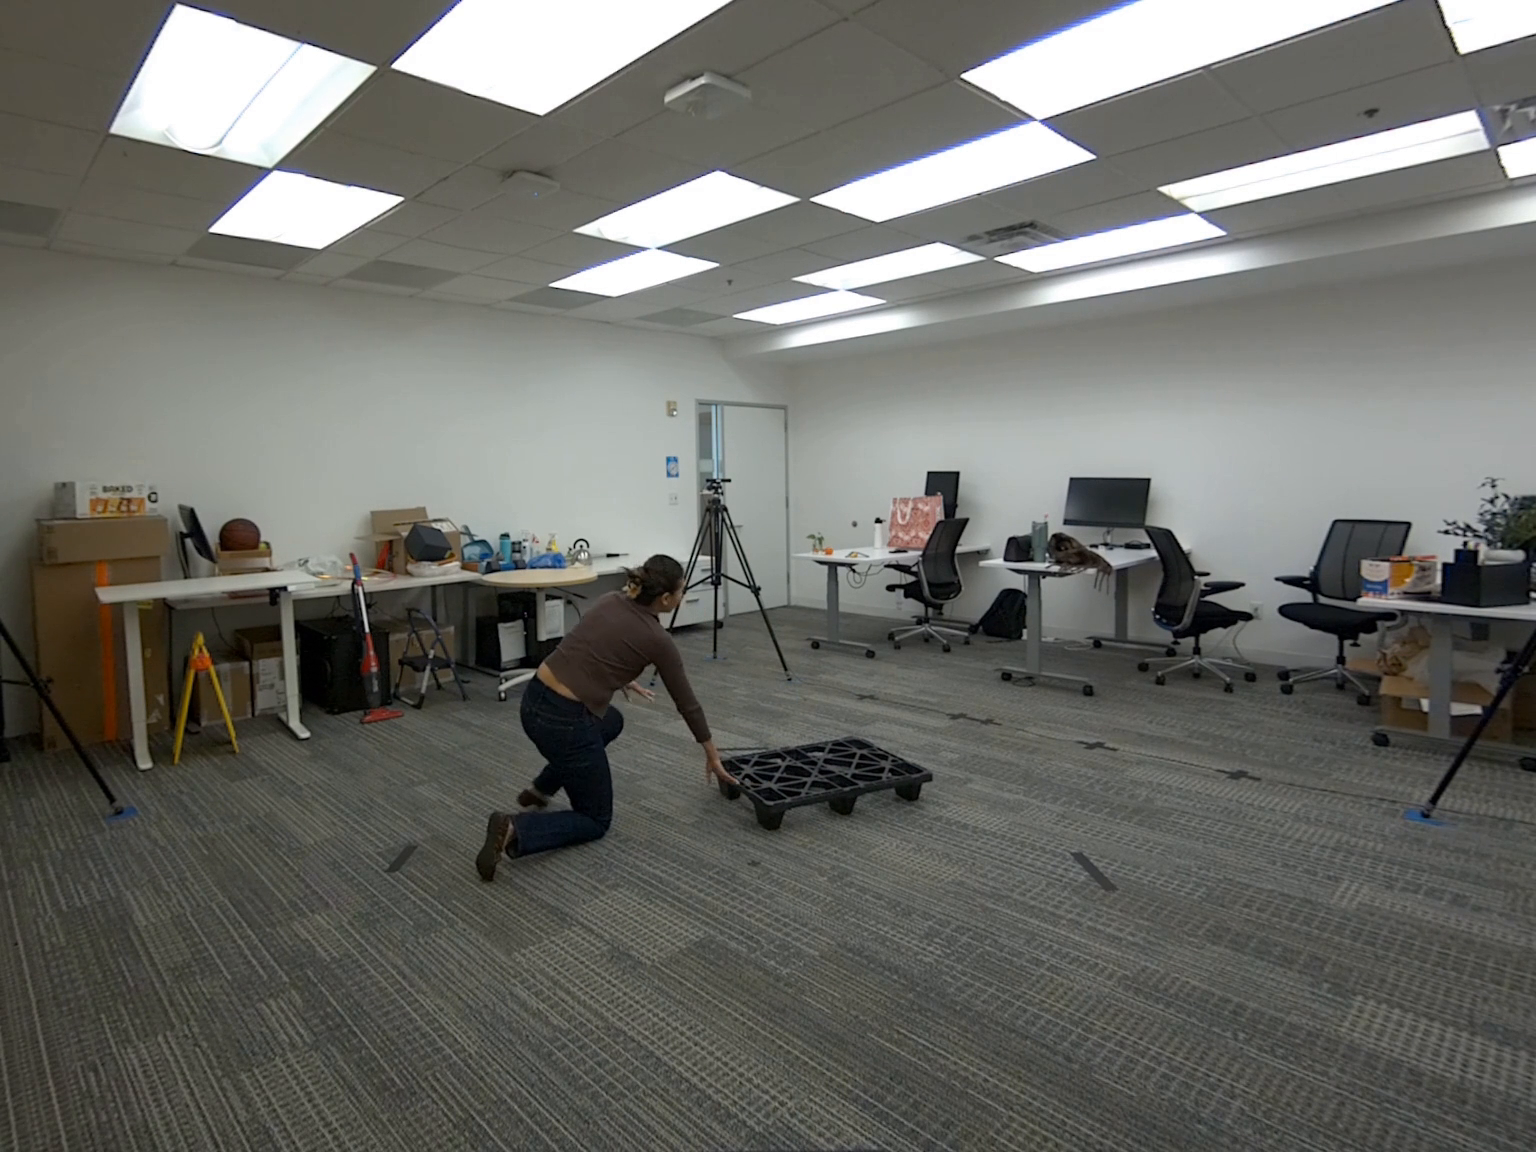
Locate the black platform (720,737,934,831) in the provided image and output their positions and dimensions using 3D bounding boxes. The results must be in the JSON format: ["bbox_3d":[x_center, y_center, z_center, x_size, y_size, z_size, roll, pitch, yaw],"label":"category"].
[{"bbox_3d":[0.219,0.901,3.752,0.789,0.143,0.620,-4,6,-26],"label":"black platform"}]
